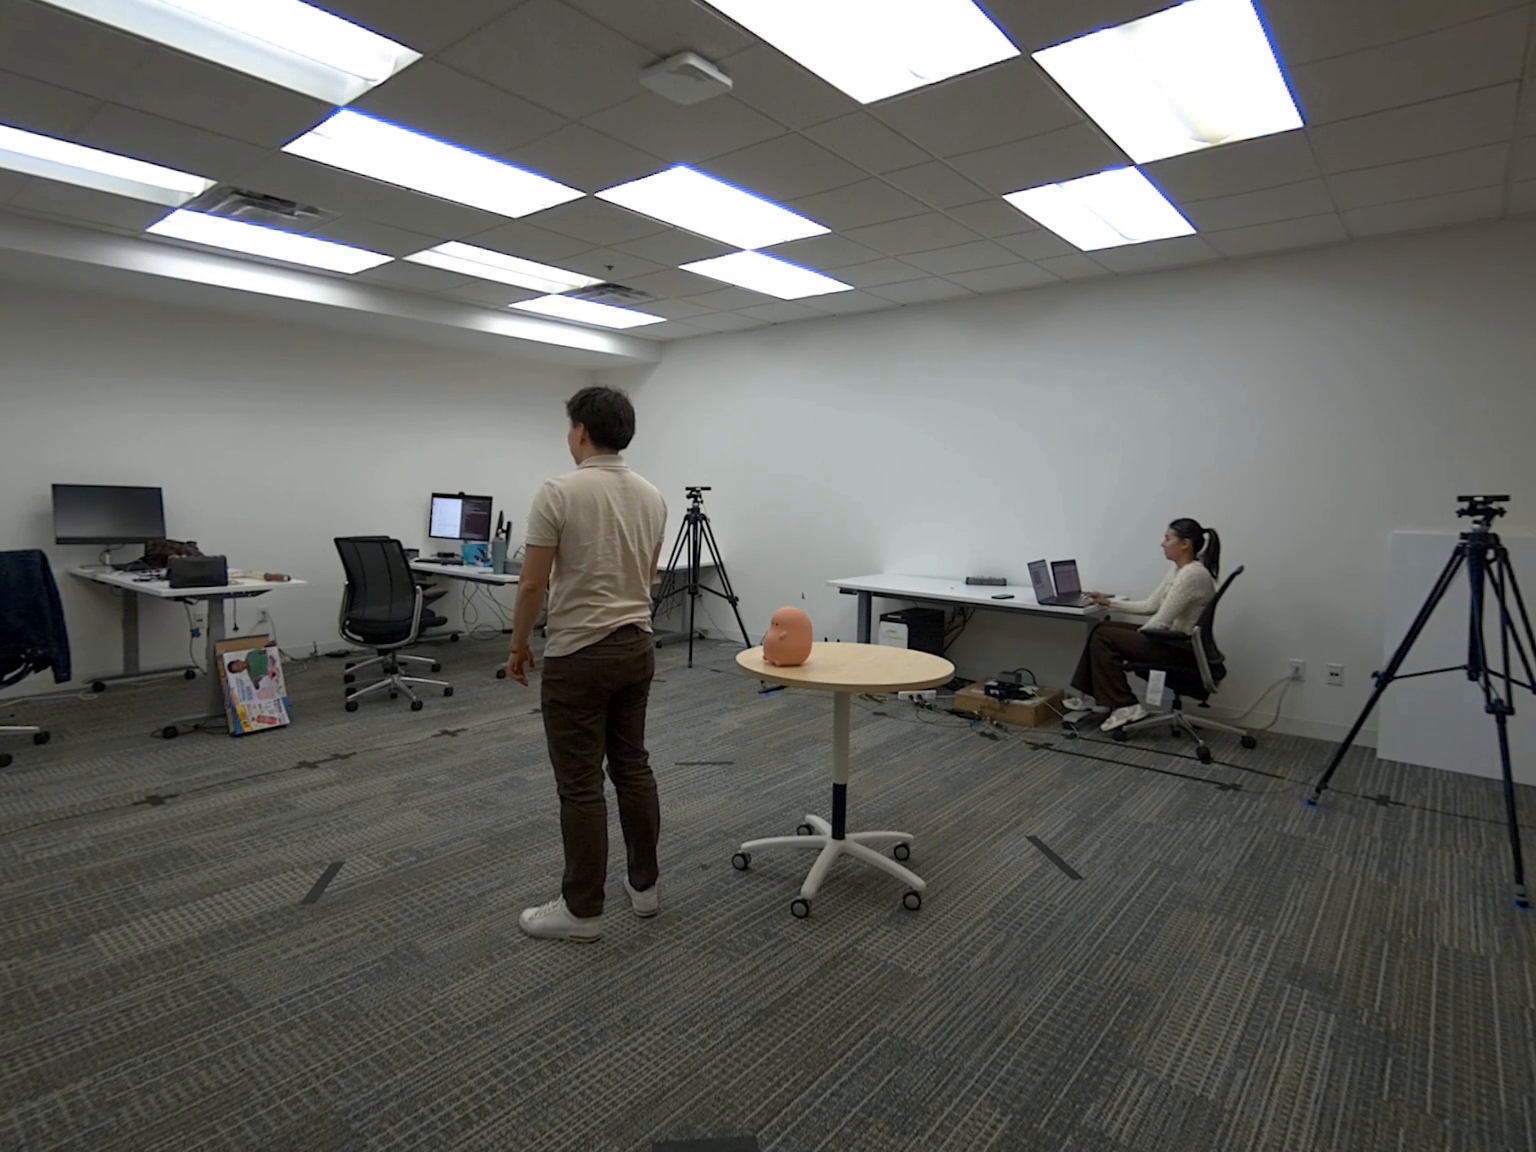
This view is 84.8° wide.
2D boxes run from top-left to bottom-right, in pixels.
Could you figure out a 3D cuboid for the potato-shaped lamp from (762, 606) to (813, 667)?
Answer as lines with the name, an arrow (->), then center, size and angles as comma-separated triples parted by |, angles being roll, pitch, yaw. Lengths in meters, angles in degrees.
potato-shaped lamp -> 0.062, 0.204, 2.960 | 0.168, 0.197, 0.168 | 1, 4, -18
